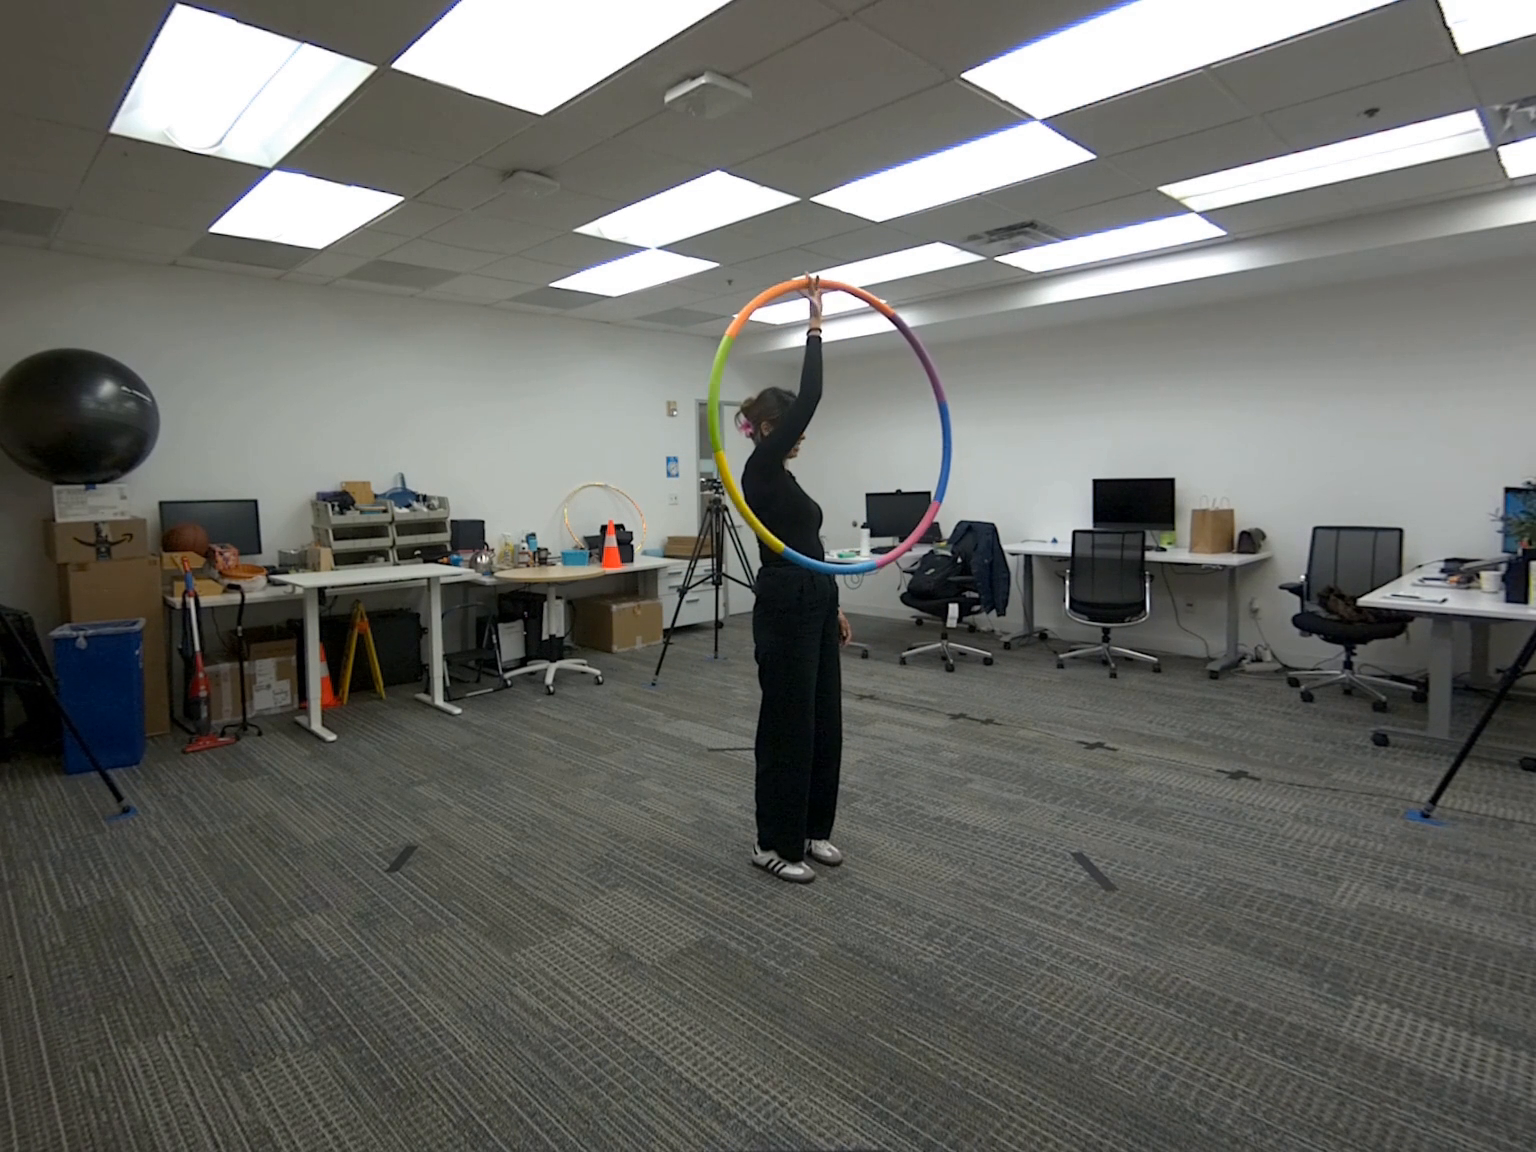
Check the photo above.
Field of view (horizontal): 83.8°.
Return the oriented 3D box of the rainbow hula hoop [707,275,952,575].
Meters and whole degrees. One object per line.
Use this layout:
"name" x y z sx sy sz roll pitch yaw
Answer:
"rainbow hula hoop" 0.225 -0.502 2.848 0.962 0.989 0.052 -4 -4 -30
